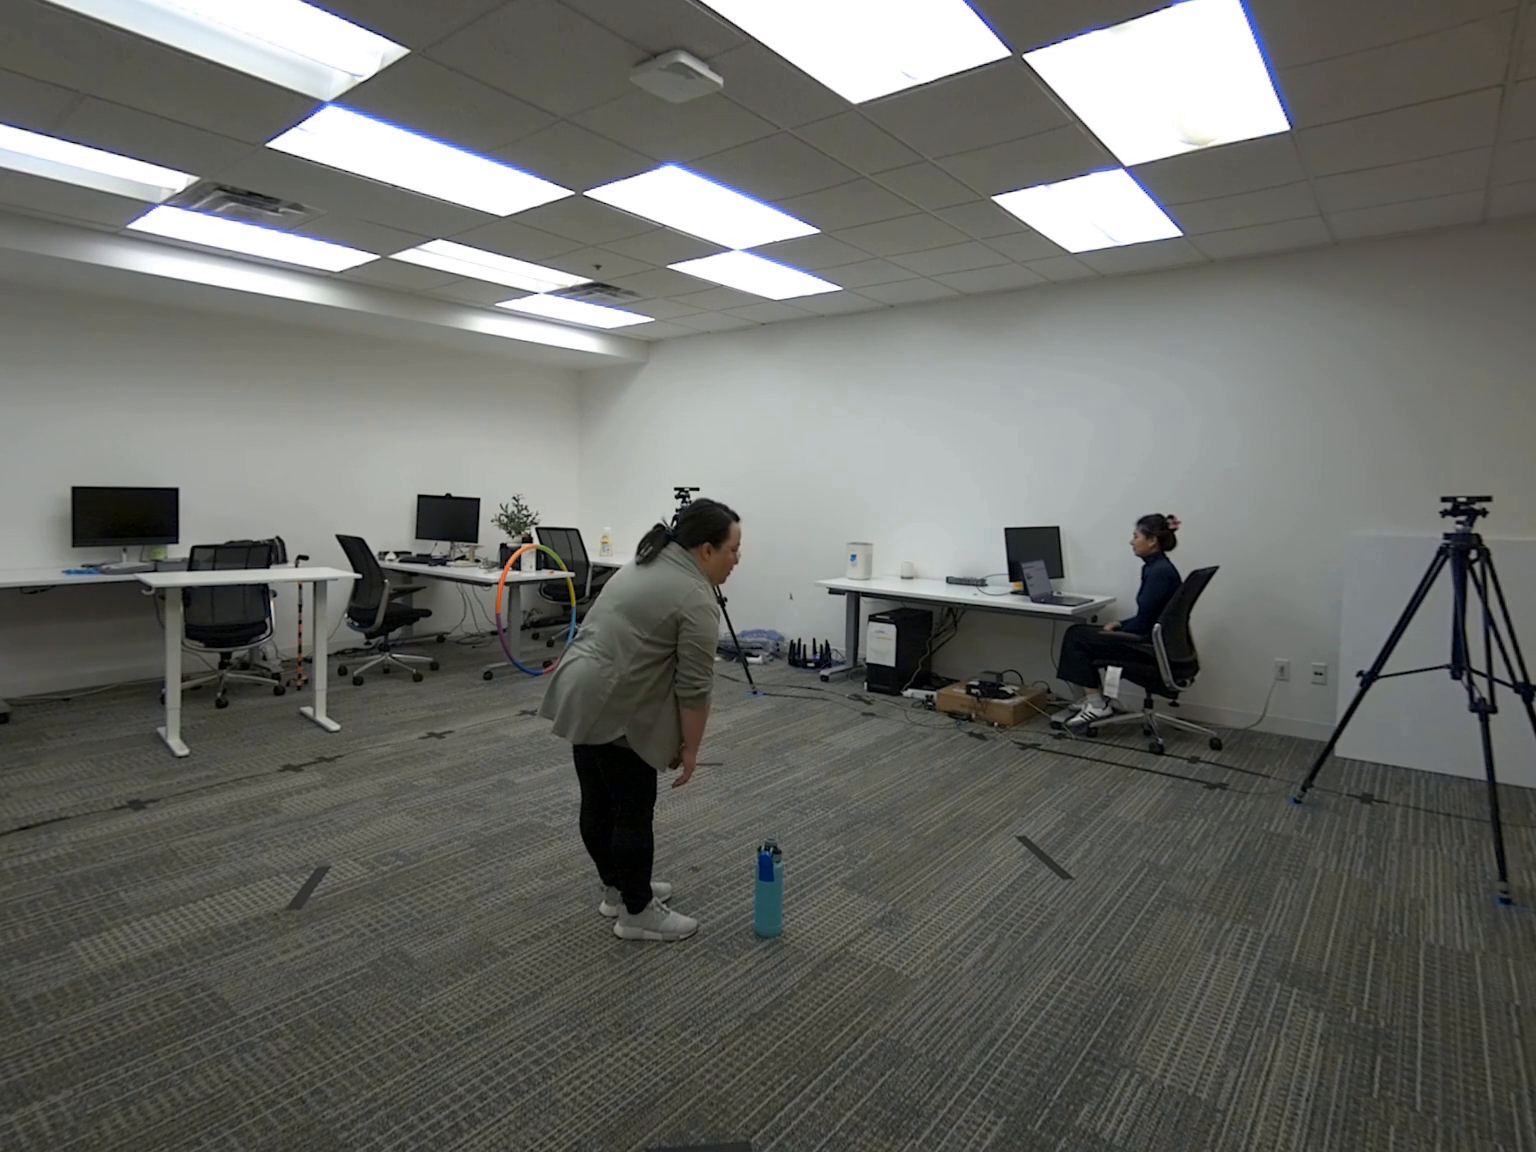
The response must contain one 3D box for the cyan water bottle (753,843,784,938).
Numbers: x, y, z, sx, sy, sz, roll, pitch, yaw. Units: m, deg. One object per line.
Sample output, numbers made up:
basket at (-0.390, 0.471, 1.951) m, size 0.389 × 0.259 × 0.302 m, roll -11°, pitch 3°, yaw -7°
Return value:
cyan water bottle at (-0.001, 0.976, 2.664) m, size 0.092 × 0.282 × 0.093 m, roll 2°, pitch 4°, yaw -2°
